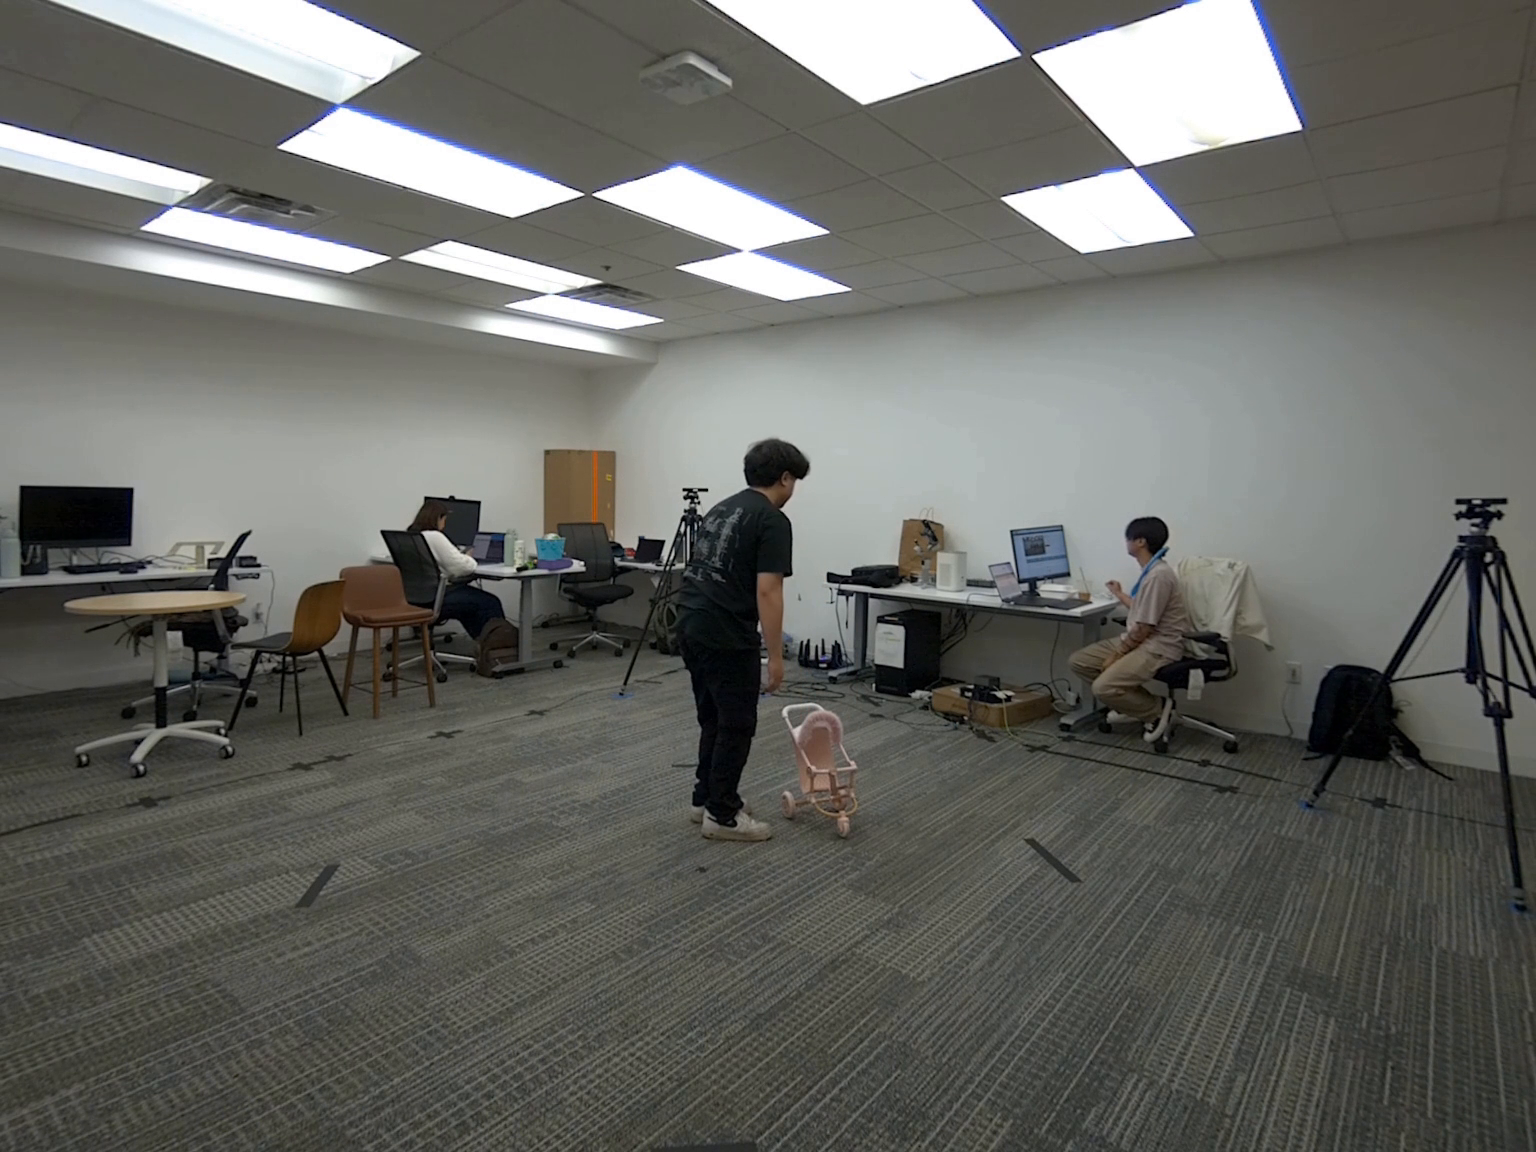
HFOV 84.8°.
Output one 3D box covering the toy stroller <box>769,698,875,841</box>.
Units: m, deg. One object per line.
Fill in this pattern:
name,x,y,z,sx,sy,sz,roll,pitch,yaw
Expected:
toy stroller,0.219,0.807,3.585,0.276,0.541,0.344,0,-11,-20
